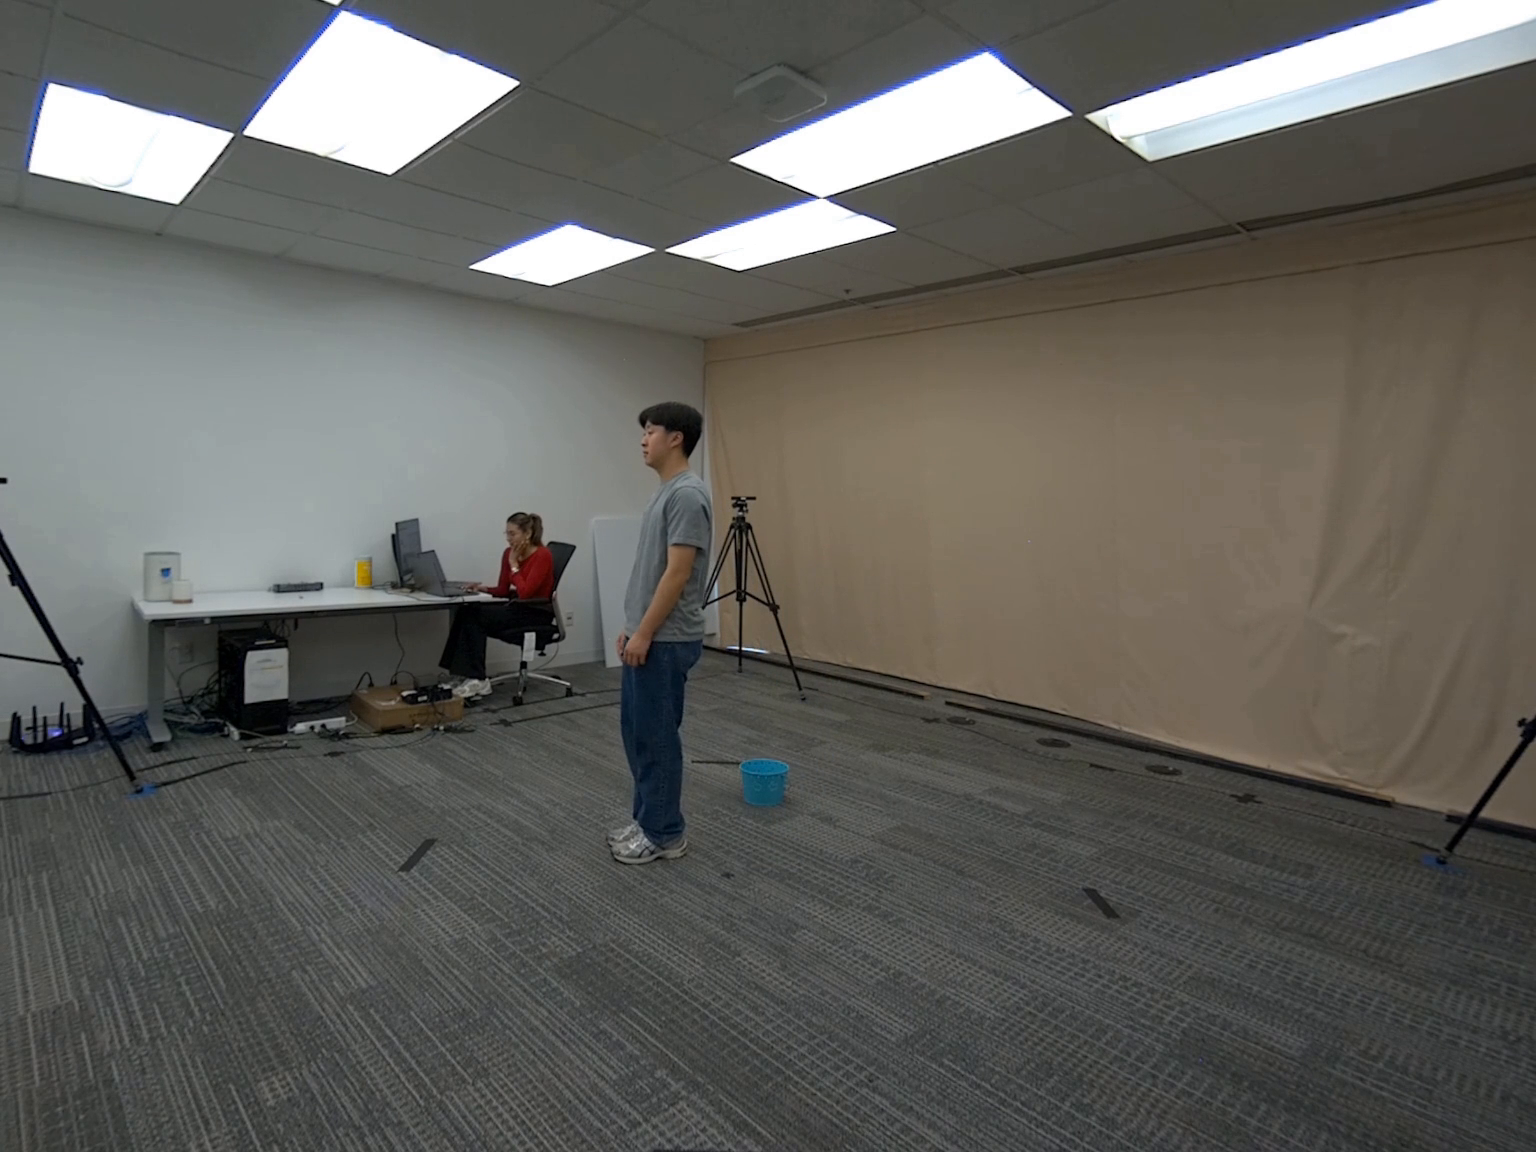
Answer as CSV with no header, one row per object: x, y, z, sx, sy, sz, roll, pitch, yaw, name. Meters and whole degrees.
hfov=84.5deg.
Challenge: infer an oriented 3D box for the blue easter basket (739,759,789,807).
-0.022,0.961,3.918,0.243,0.155,0.244,1,4,-1,blue easter basket
